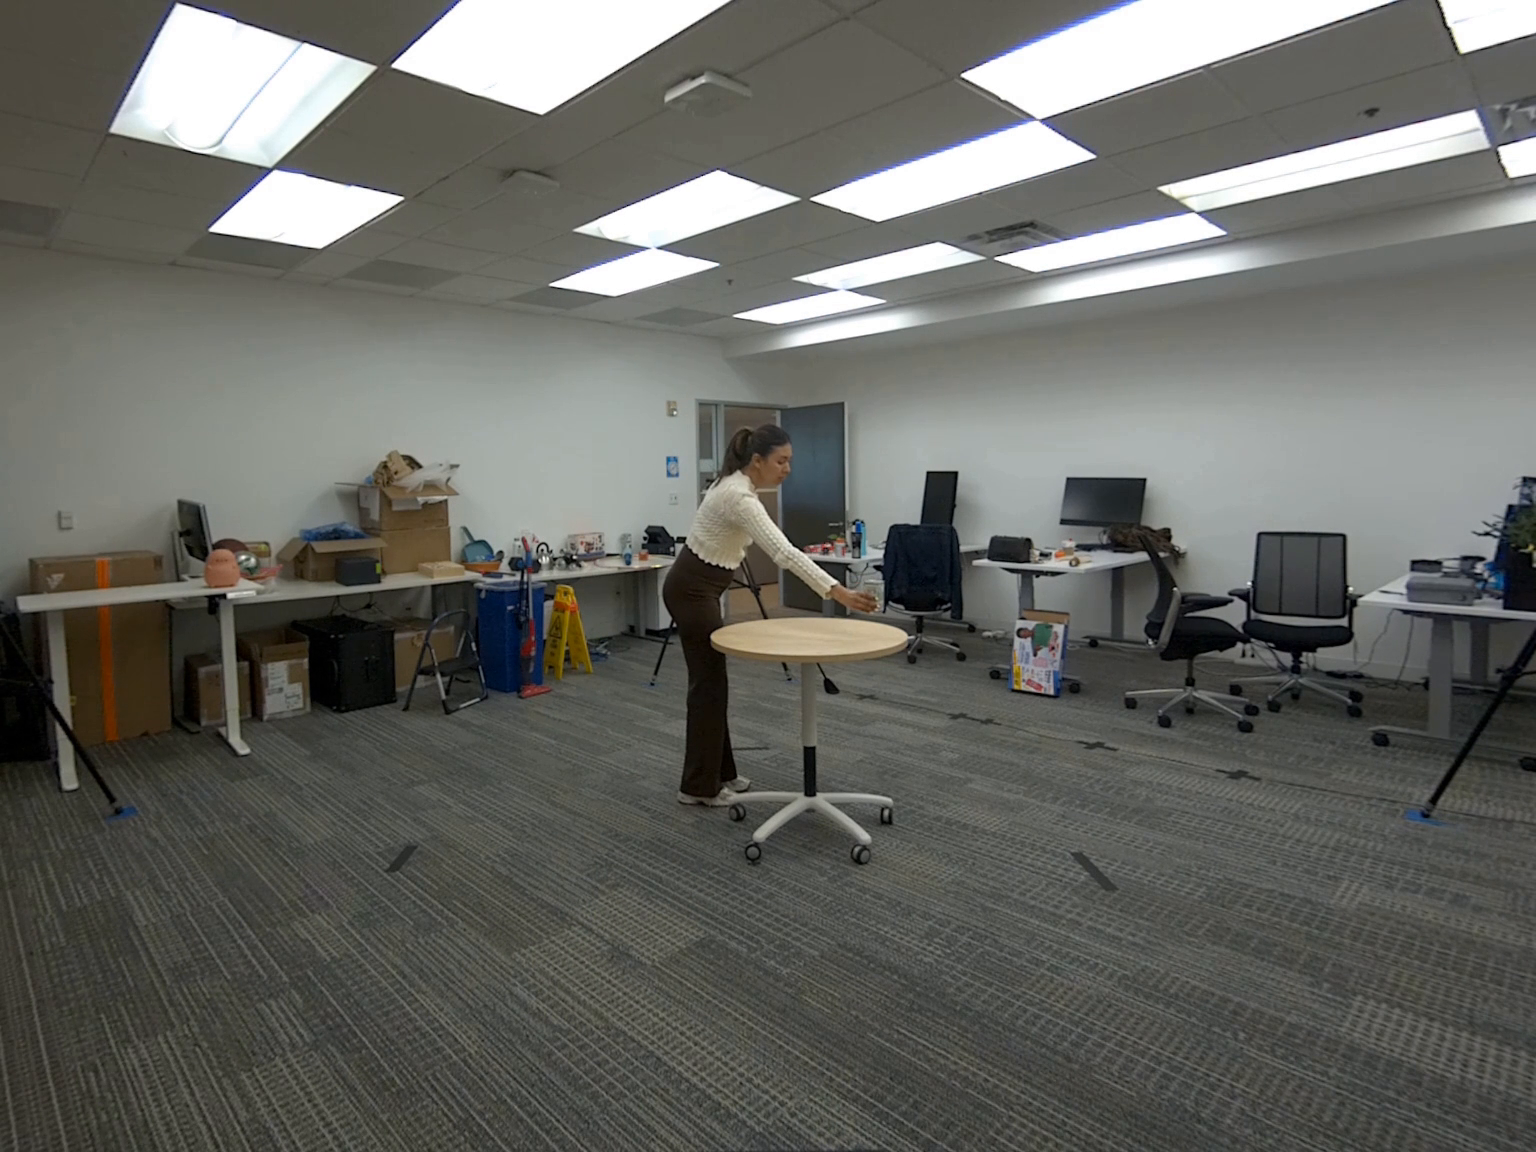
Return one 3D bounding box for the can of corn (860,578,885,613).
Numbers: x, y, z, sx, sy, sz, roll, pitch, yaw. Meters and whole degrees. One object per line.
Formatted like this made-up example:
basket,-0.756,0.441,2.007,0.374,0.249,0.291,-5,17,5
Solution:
can of corn,0.382,0.068,3.151,0.074,0.110,0.075,0,8,-2
